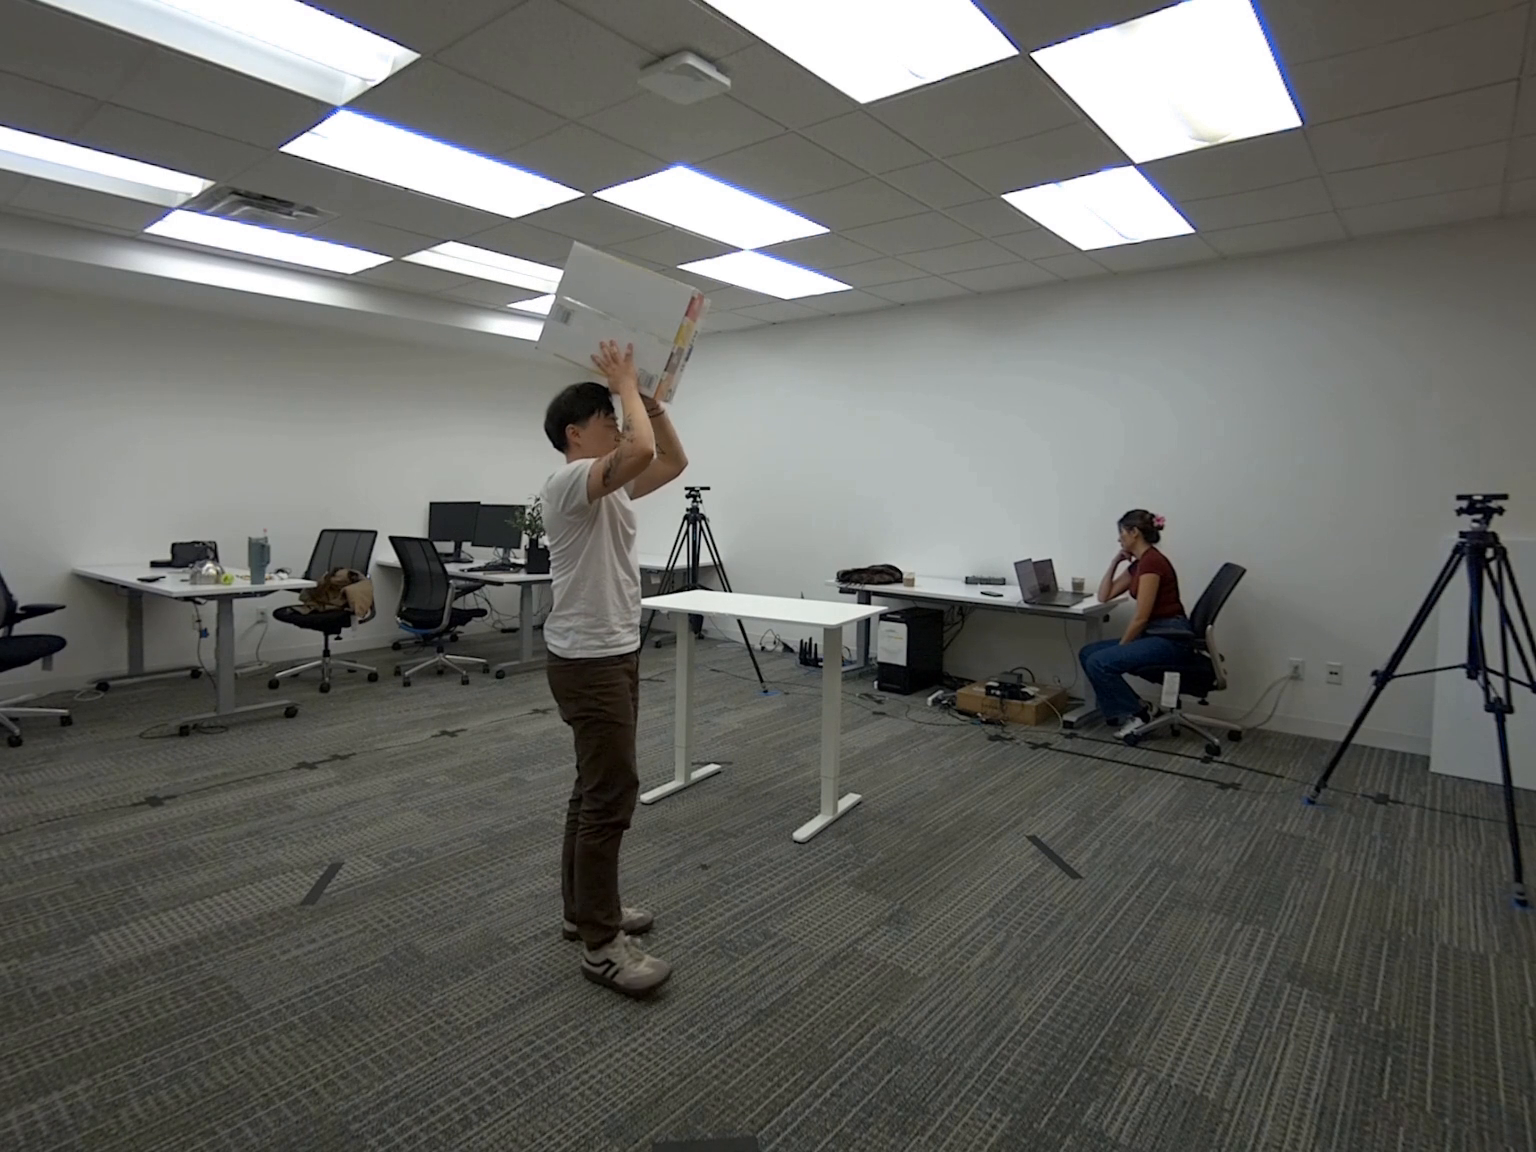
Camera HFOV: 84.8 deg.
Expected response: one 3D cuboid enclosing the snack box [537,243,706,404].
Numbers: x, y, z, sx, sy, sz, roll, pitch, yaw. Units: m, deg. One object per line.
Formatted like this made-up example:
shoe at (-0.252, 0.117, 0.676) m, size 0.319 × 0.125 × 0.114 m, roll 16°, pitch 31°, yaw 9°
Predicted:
snack box at (-0.447, -0.764, 2.578) m, size 0.410 × 0.339 × 0.204 m, roll 24°, pitch 8°, yaw 8°
